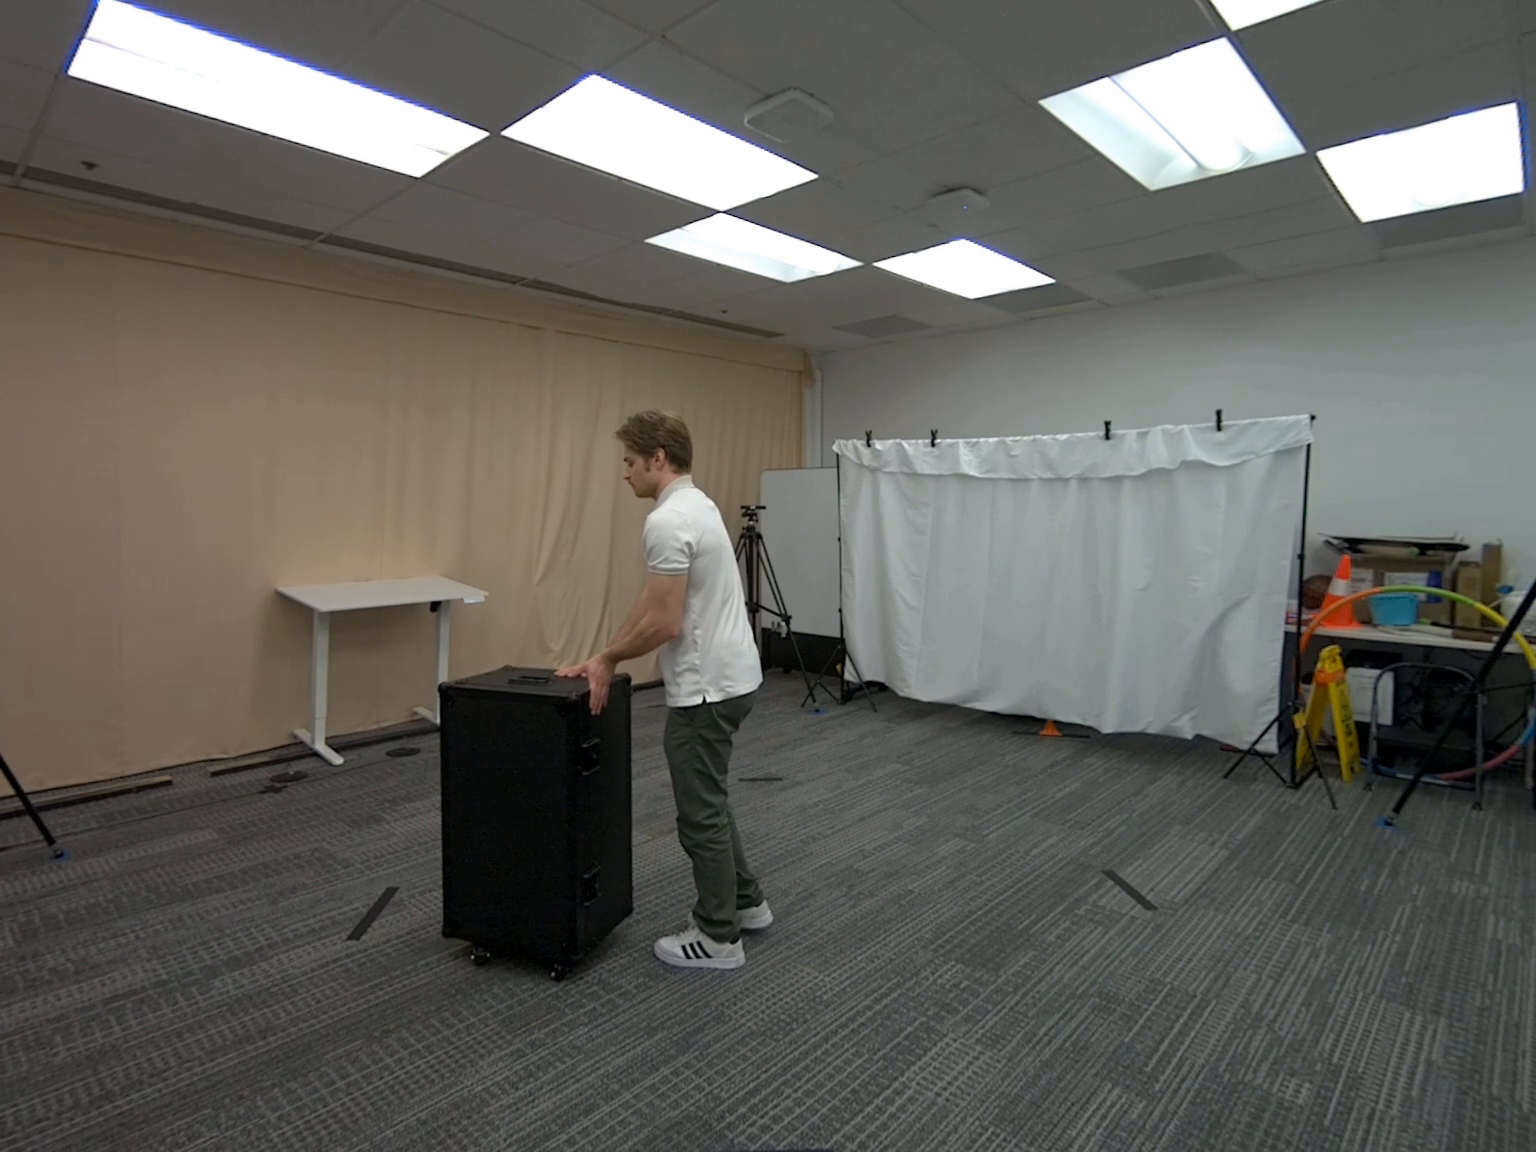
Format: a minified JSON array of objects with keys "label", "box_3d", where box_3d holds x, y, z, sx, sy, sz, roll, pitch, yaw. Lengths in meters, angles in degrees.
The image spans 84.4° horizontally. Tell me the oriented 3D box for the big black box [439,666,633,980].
[{"label":"big black box","box_3d":[-0.734,0.757,2.665,0.534,0.868,0.378,0,2,19]}]
